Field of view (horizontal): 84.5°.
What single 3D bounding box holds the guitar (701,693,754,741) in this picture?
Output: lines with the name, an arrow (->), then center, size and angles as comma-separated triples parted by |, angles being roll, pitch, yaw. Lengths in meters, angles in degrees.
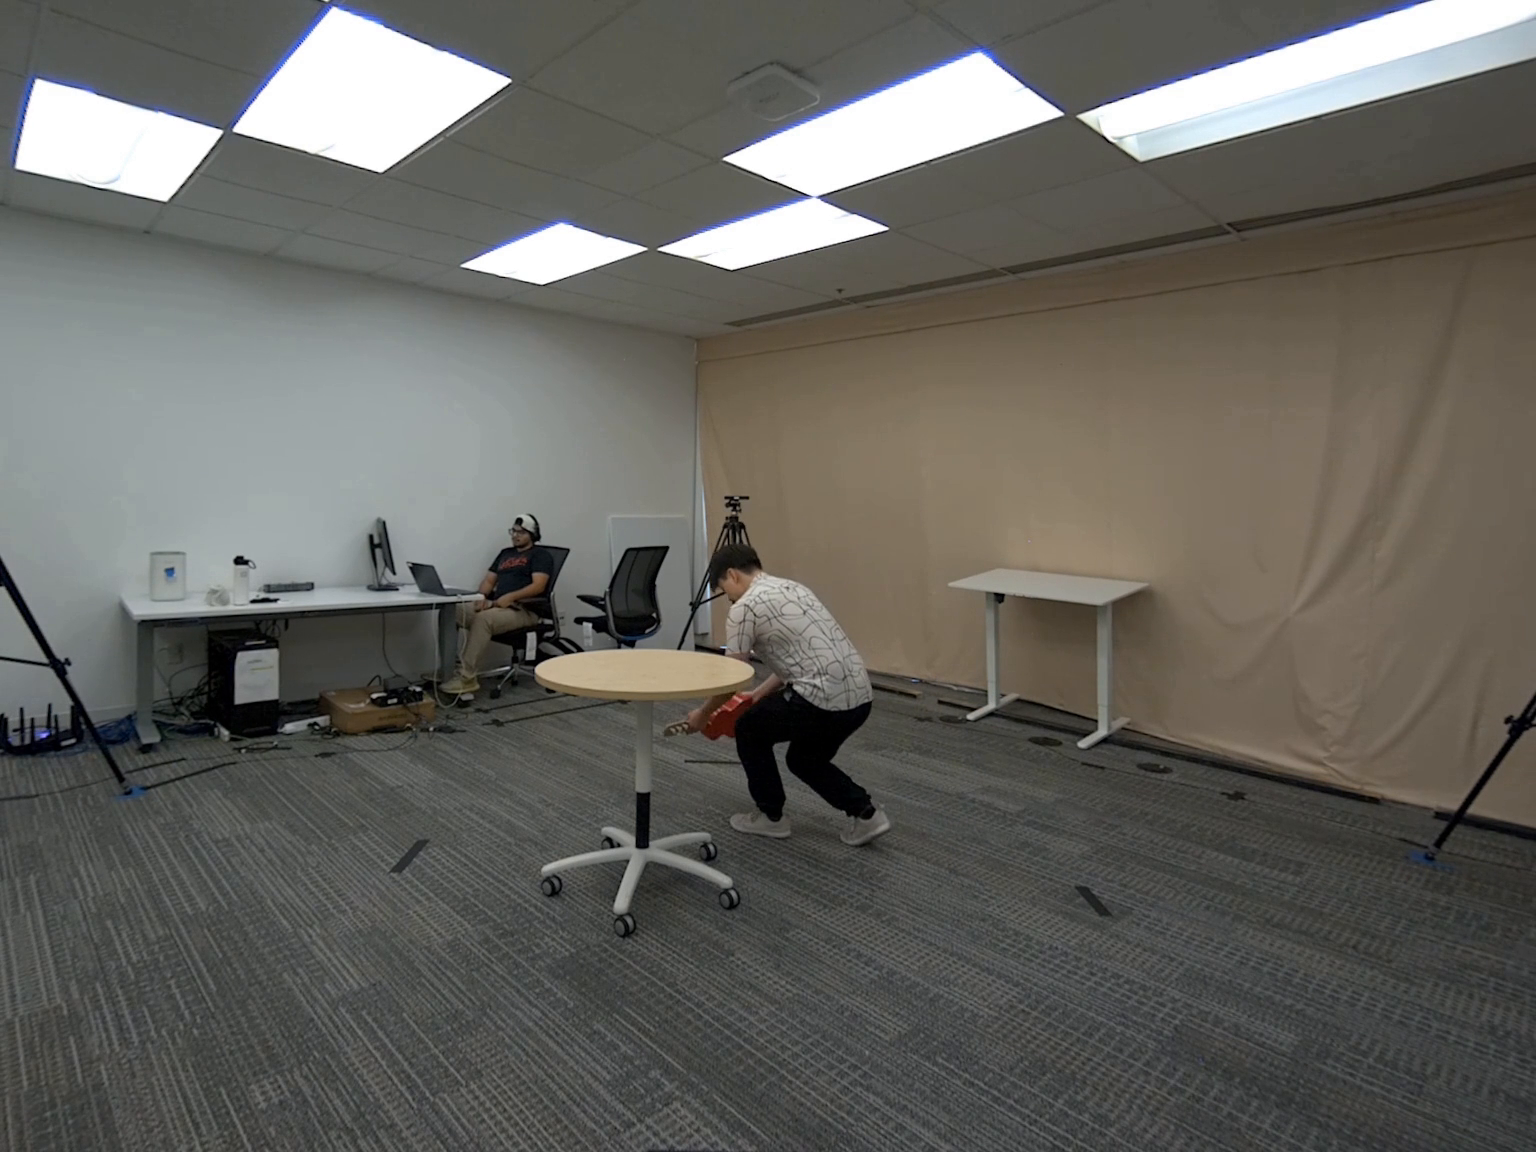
guitar -> -0.267, 0.654, 3.630 | 0.073, 0.190, 0.489 | 28, 29, 35
